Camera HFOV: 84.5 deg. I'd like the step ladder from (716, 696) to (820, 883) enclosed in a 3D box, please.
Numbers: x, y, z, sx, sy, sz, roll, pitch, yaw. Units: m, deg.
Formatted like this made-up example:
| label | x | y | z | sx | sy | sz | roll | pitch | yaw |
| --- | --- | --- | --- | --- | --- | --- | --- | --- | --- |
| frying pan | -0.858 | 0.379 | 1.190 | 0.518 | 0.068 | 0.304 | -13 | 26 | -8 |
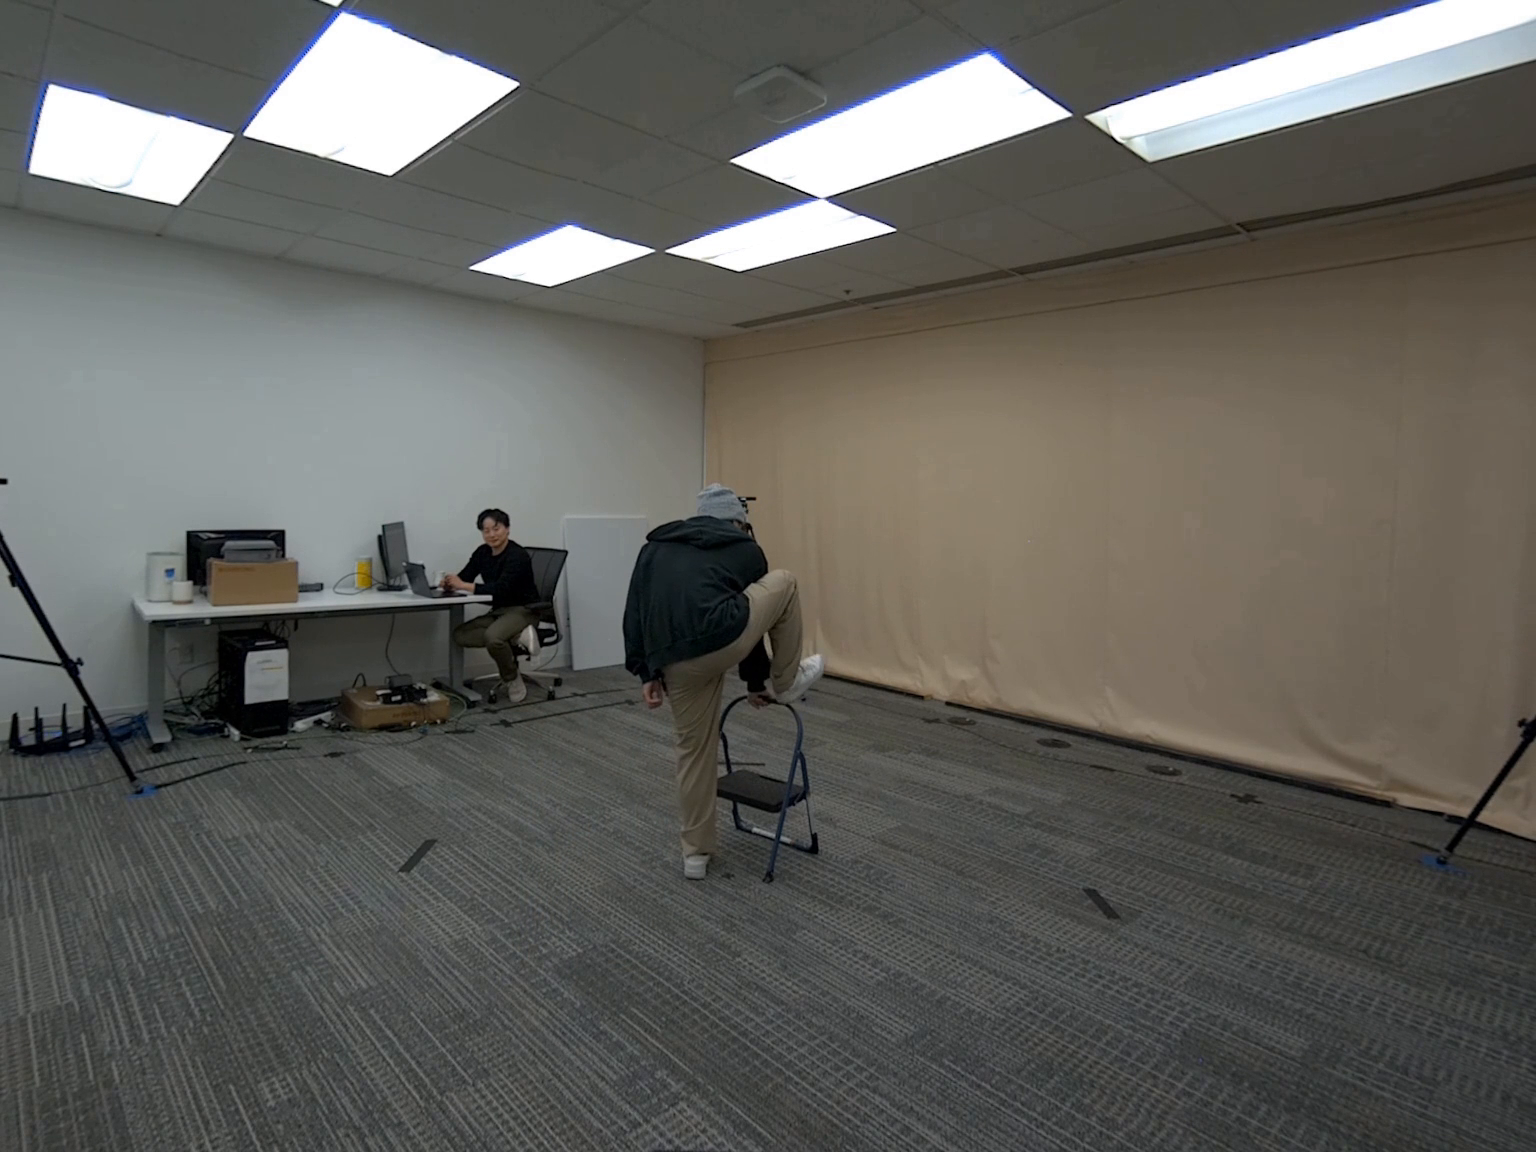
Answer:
| label | x | y | z | sx | sy | sz | roll | pitch | yaw |
| --- | --- | --- | --- | --- | --- | --- | --- | --- | --- |
| step ladder | -0.059 | 0.788 | 3.304 | 0.441 | 0.604 | 0.341 | 5 | 5 | 38 |
